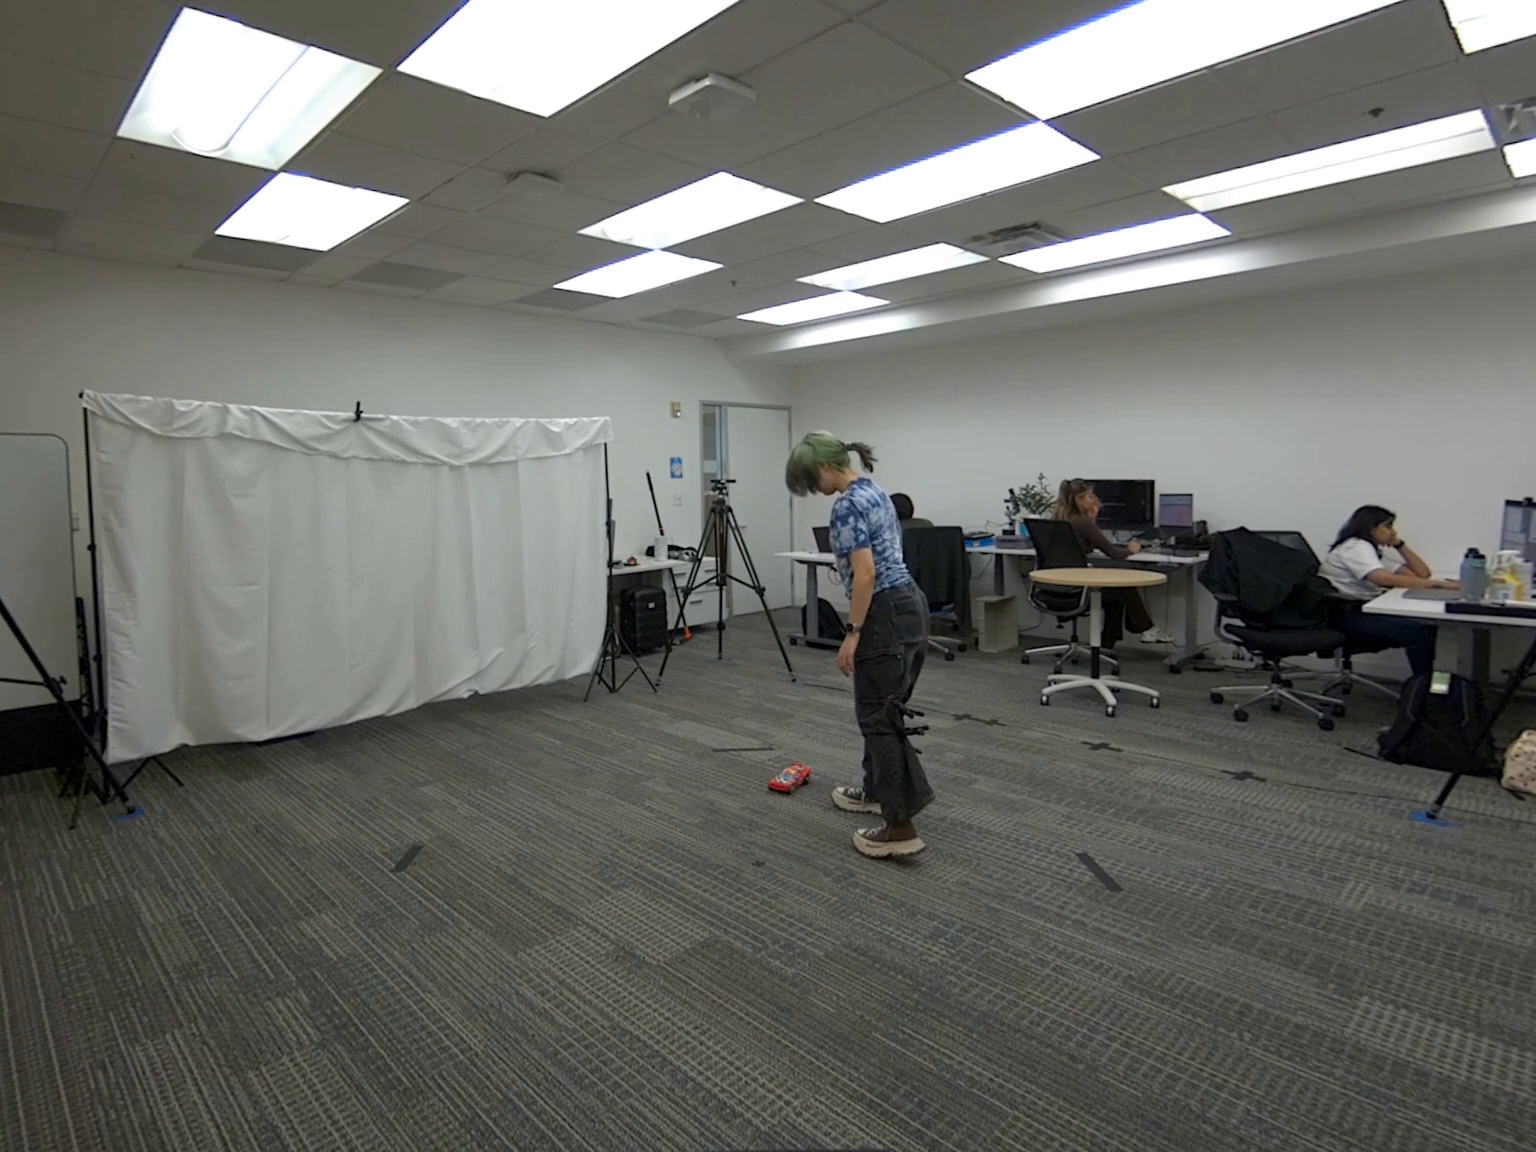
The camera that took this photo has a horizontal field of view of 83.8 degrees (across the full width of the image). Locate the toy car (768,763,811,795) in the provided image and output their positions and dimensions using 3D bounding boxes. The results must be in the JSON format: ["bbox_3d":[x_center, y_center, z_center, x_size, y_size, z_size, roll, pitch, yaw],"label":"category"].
[{"bbox_3d":[0.105,0.925,3.902,0.134,0.082,0.251,2,17,31],"label":"toy car"}]
